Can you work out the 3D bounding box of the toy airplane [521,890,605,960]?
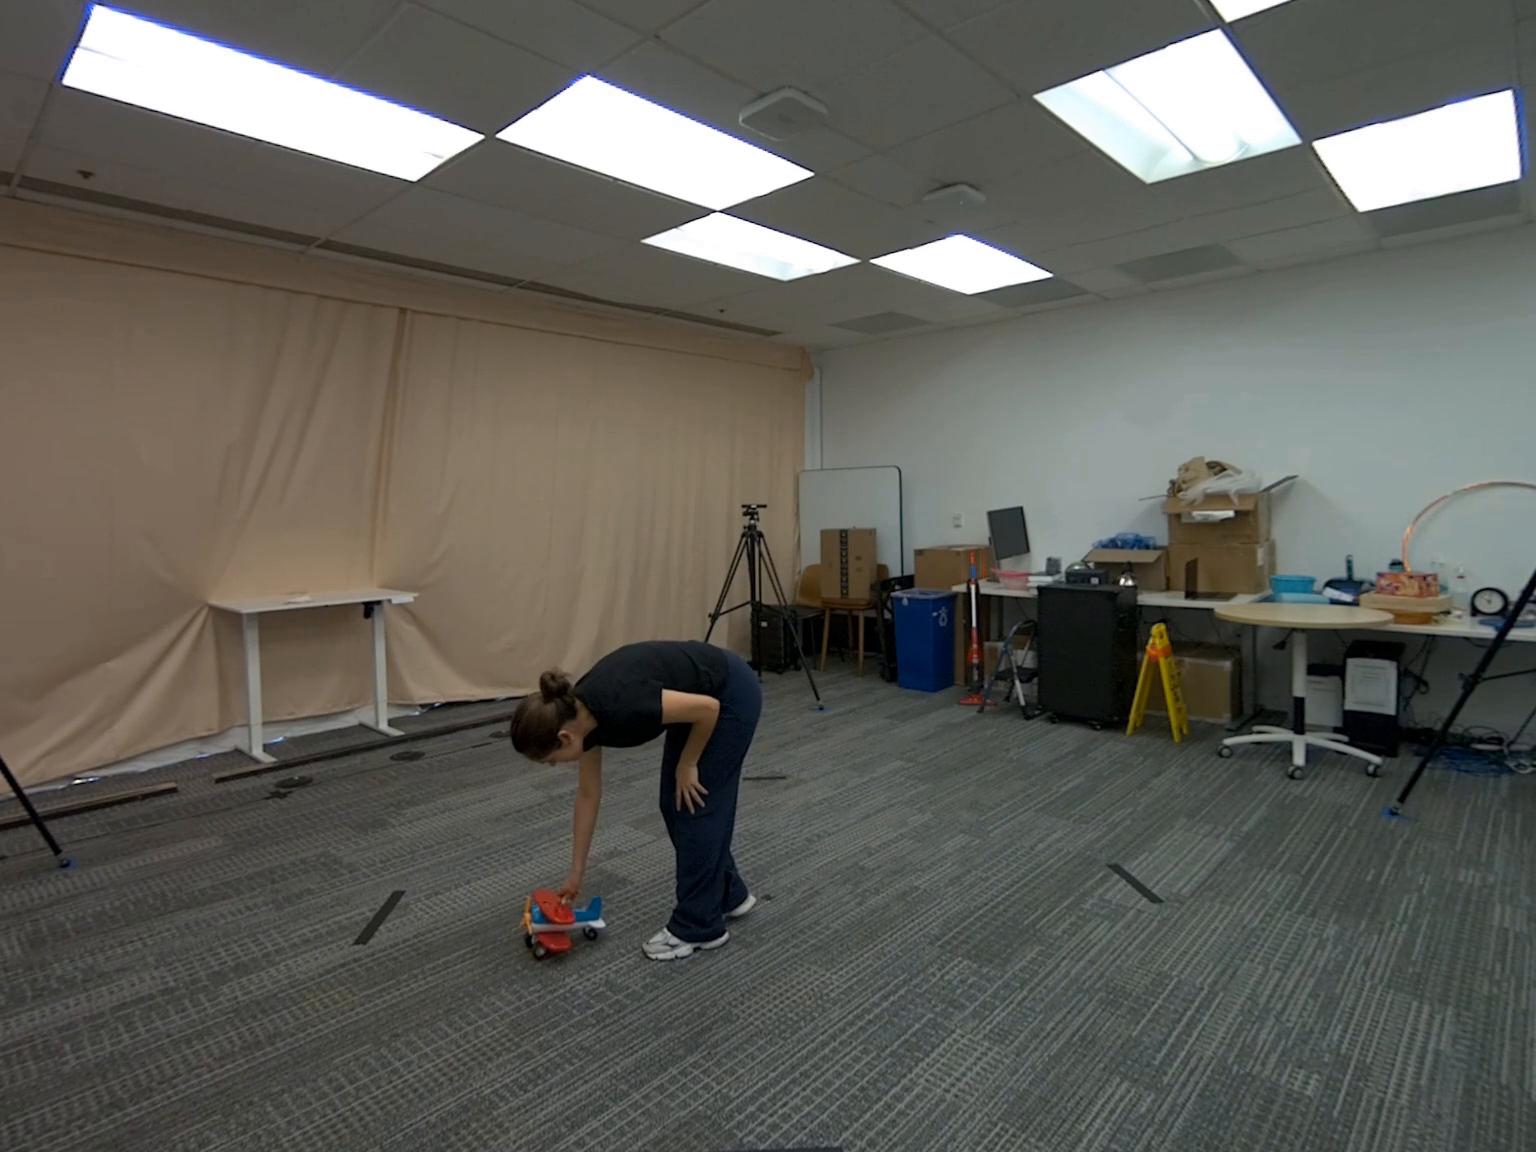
[{"bbox_3d":[-0.650,1.109,2.699,0.258,0.156,0.252,2,6,31],"label":"toy airplane"}]
